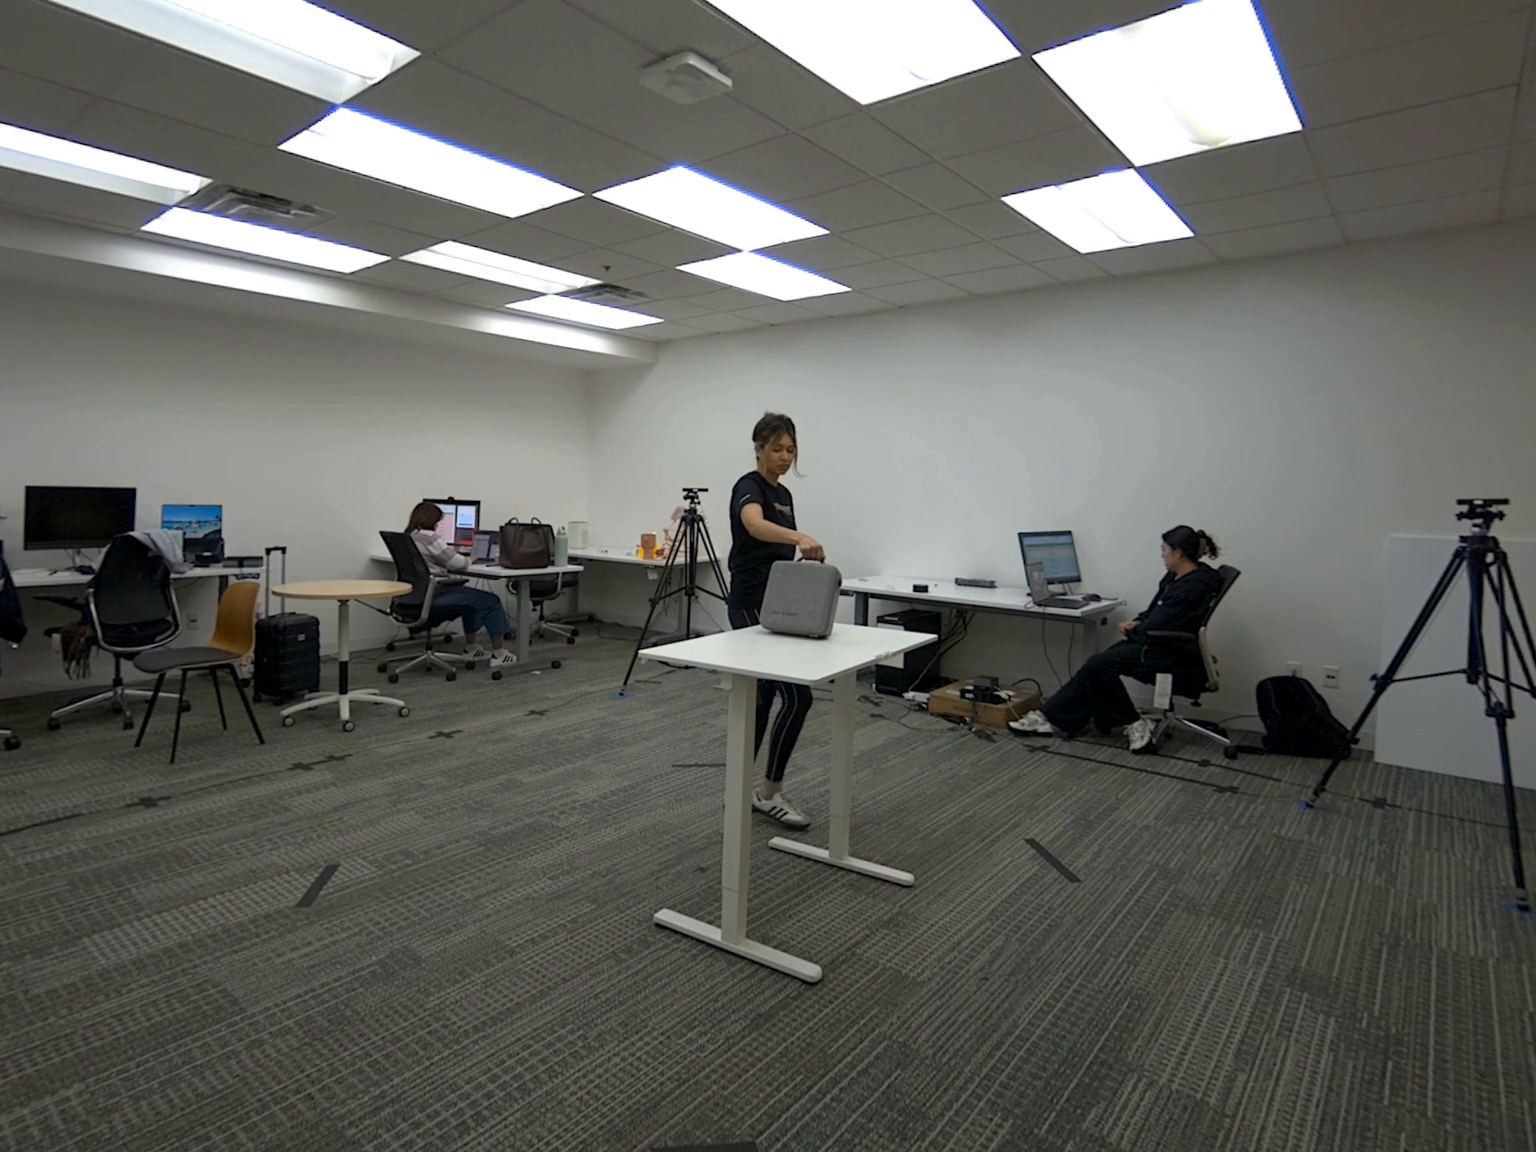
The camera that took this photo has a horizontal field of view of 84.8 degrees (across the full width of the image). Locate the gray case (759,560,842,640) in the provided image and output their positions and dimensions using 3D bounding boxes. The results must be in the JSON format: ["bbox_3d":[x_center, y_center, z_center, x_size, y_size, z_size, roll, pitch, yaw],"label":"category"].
[{"bbox_3d":[0.104,0.072,3.001,0.264,0.263,0.100,5,-17,29],"label":"gray case"}]
